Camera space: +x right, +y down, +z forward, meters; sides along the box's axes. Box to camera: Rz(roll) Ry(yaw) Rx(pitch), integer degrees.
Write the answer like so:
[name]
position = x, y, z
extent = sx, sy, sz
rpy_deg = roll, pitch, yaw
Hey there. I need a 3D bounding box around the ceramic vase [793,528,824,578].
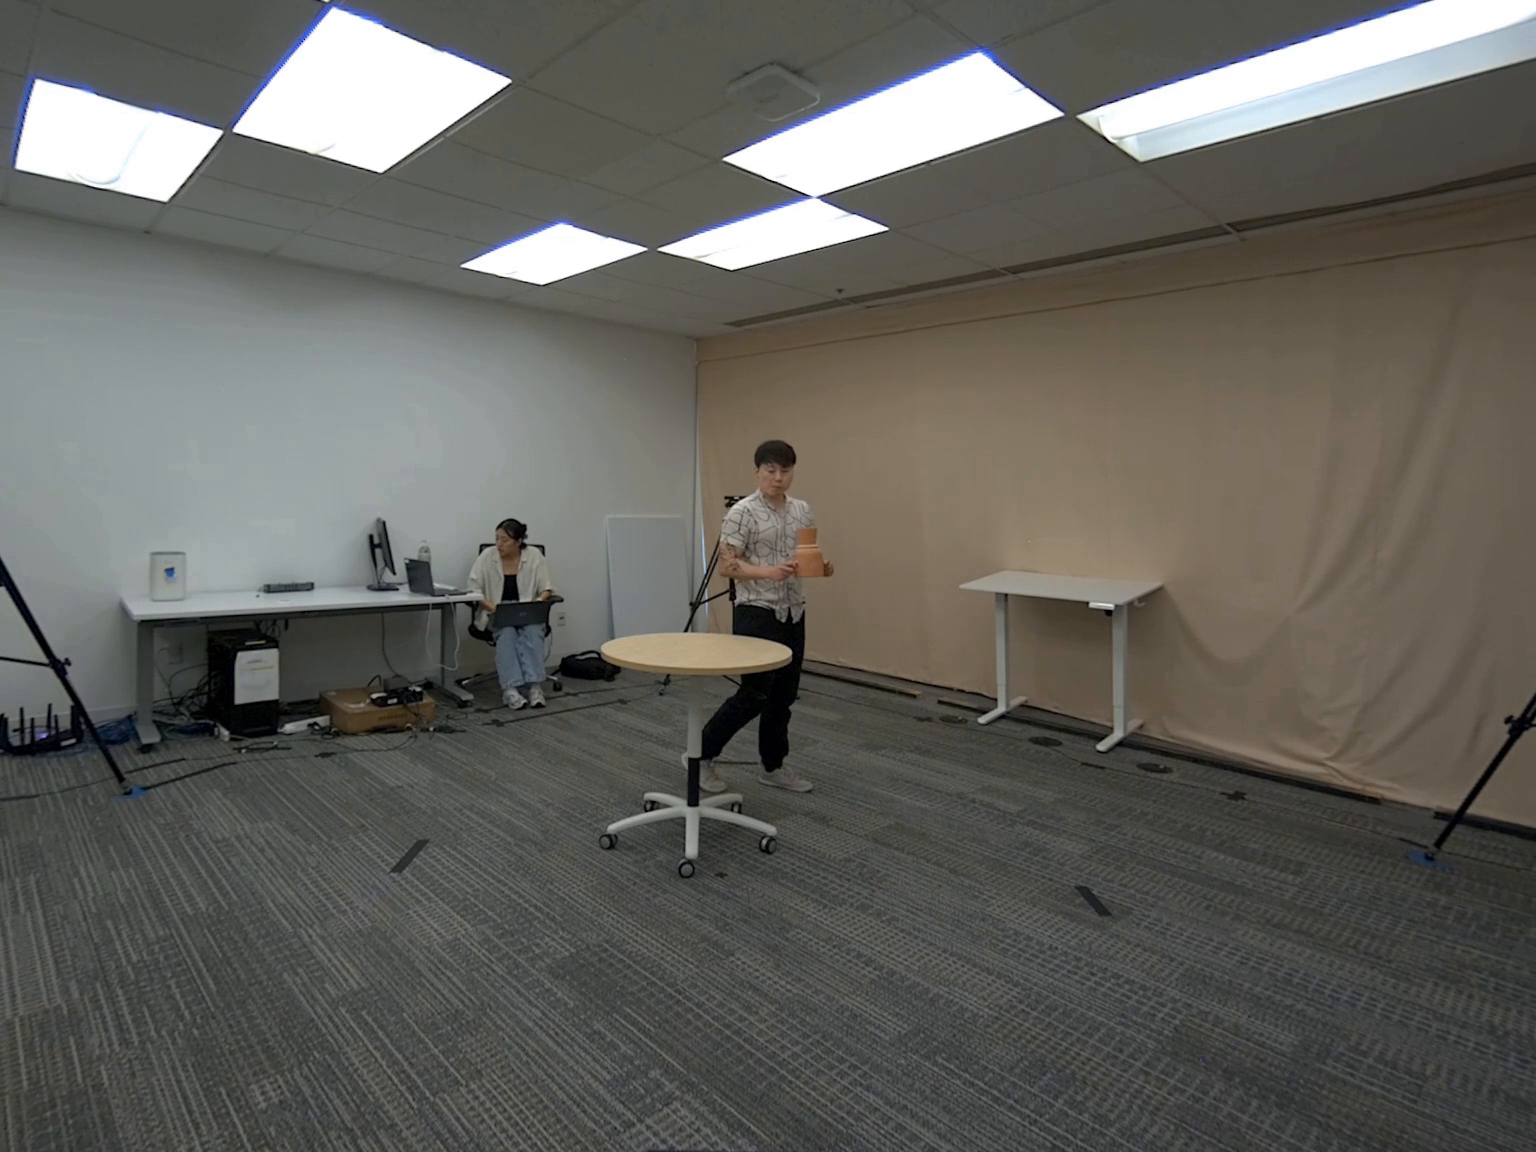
[ceramic vase]
position = 0.170, -0.105, 3.806
extent = 0.136, 0.220, 0.157
rpy_deg = -1, 0, 16
